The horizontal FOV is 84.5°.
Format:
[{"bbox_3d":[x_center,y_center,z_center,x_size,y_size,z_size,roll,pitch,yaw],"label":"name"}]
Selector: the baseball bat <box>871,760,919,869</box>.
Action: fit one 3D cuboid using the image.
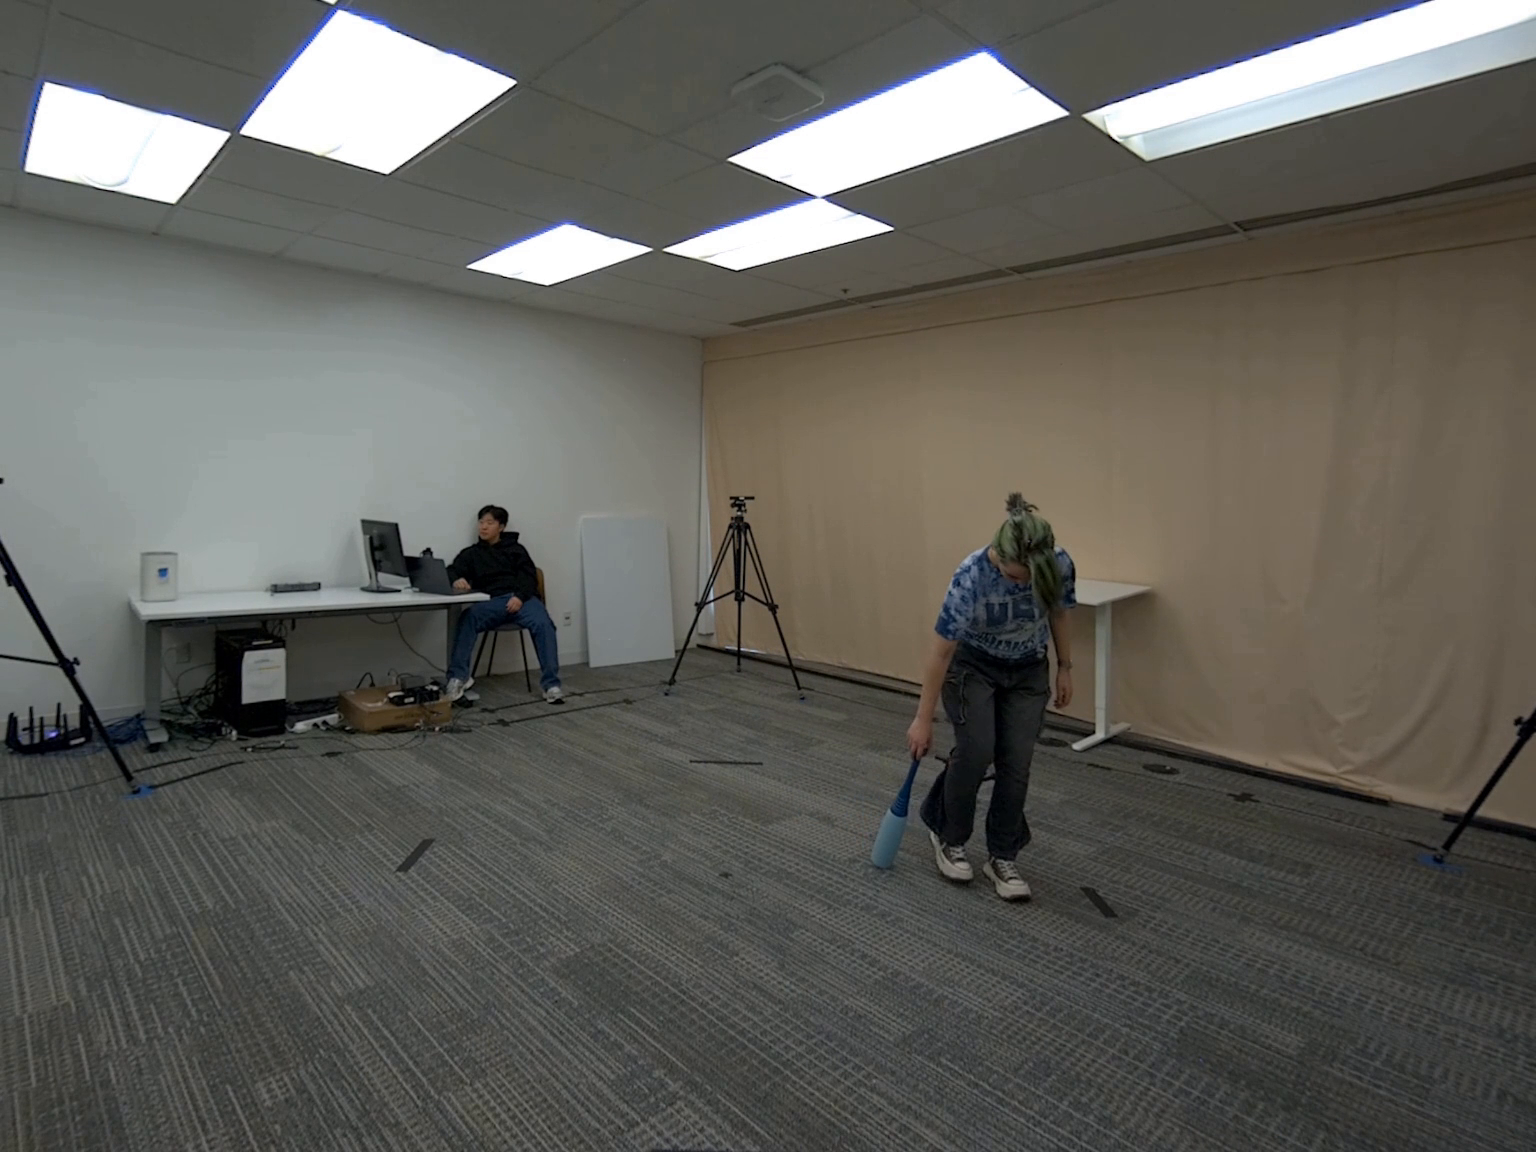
[{"bbox_3d":[0.486,0.854,3.122,0.088,0.537,0.090,11,22,-6],"label":"baseball bat"}]
